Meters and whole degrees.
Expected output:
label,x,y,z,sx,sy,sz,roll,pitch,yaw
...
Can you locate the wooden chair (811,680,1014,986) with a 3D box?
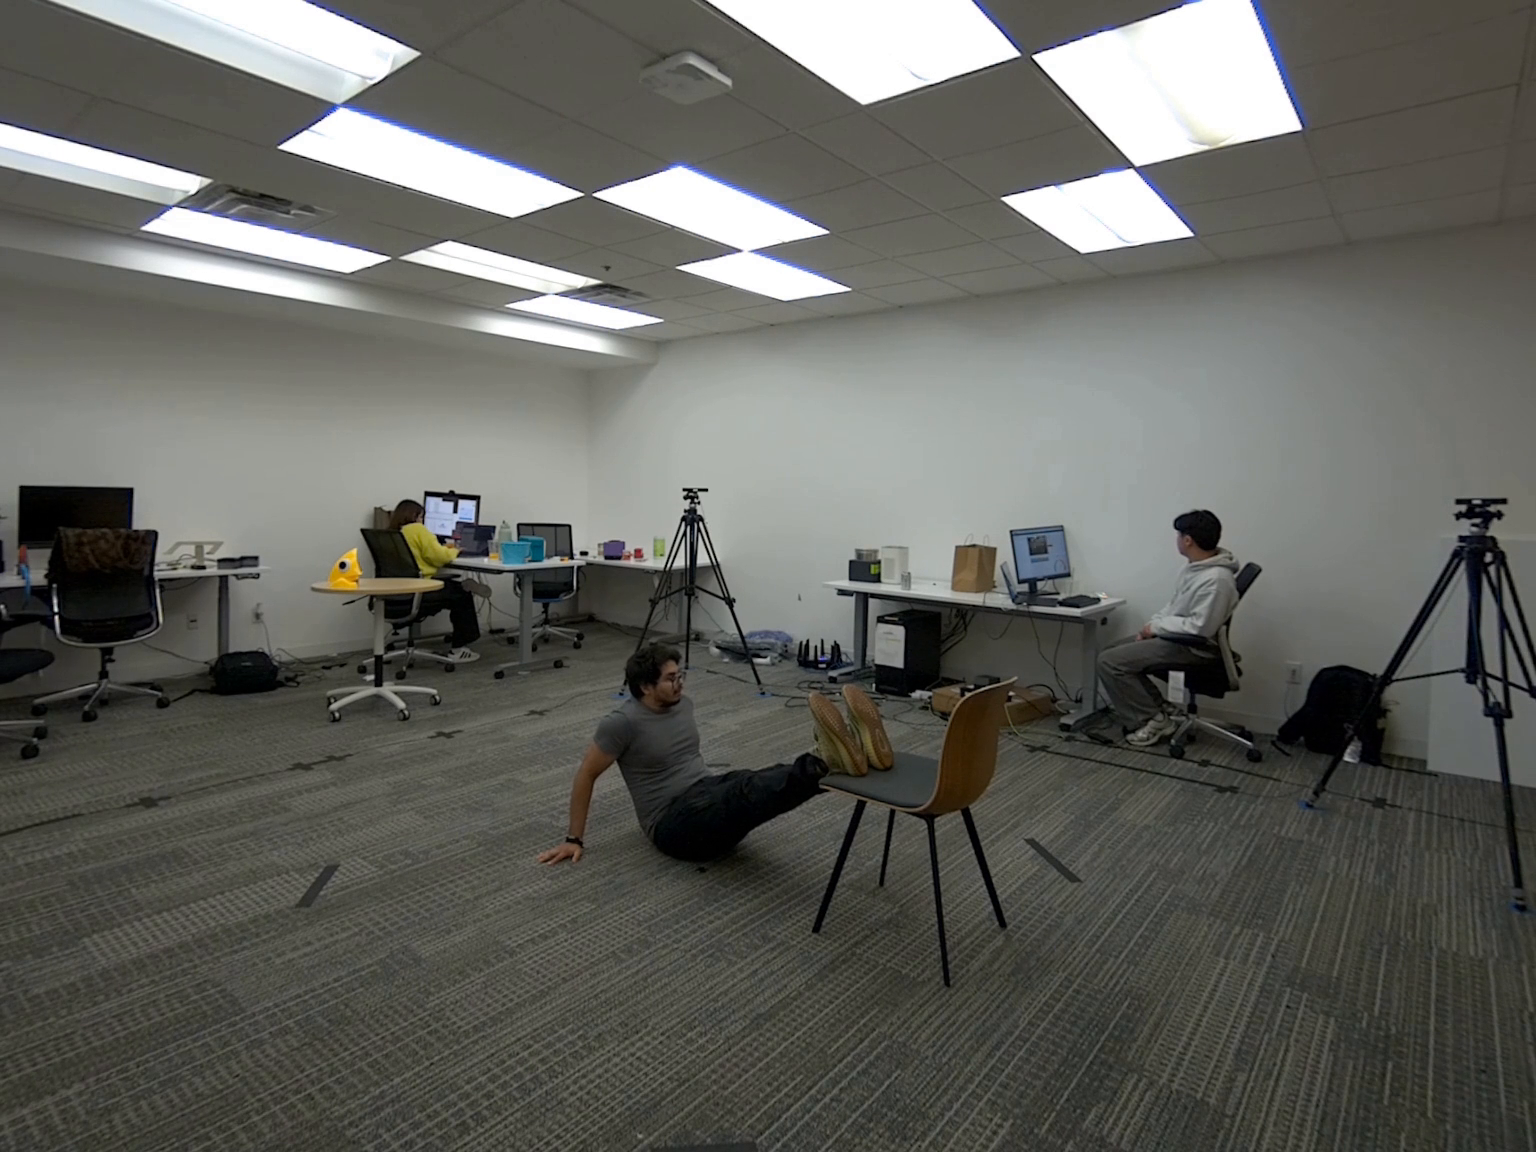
label,x,y,z,sx,sy,sz,roll,pitch,yaw
wooden chair,0.454,0.701,2.690,0.541,0.873,0.464,9,7,37
